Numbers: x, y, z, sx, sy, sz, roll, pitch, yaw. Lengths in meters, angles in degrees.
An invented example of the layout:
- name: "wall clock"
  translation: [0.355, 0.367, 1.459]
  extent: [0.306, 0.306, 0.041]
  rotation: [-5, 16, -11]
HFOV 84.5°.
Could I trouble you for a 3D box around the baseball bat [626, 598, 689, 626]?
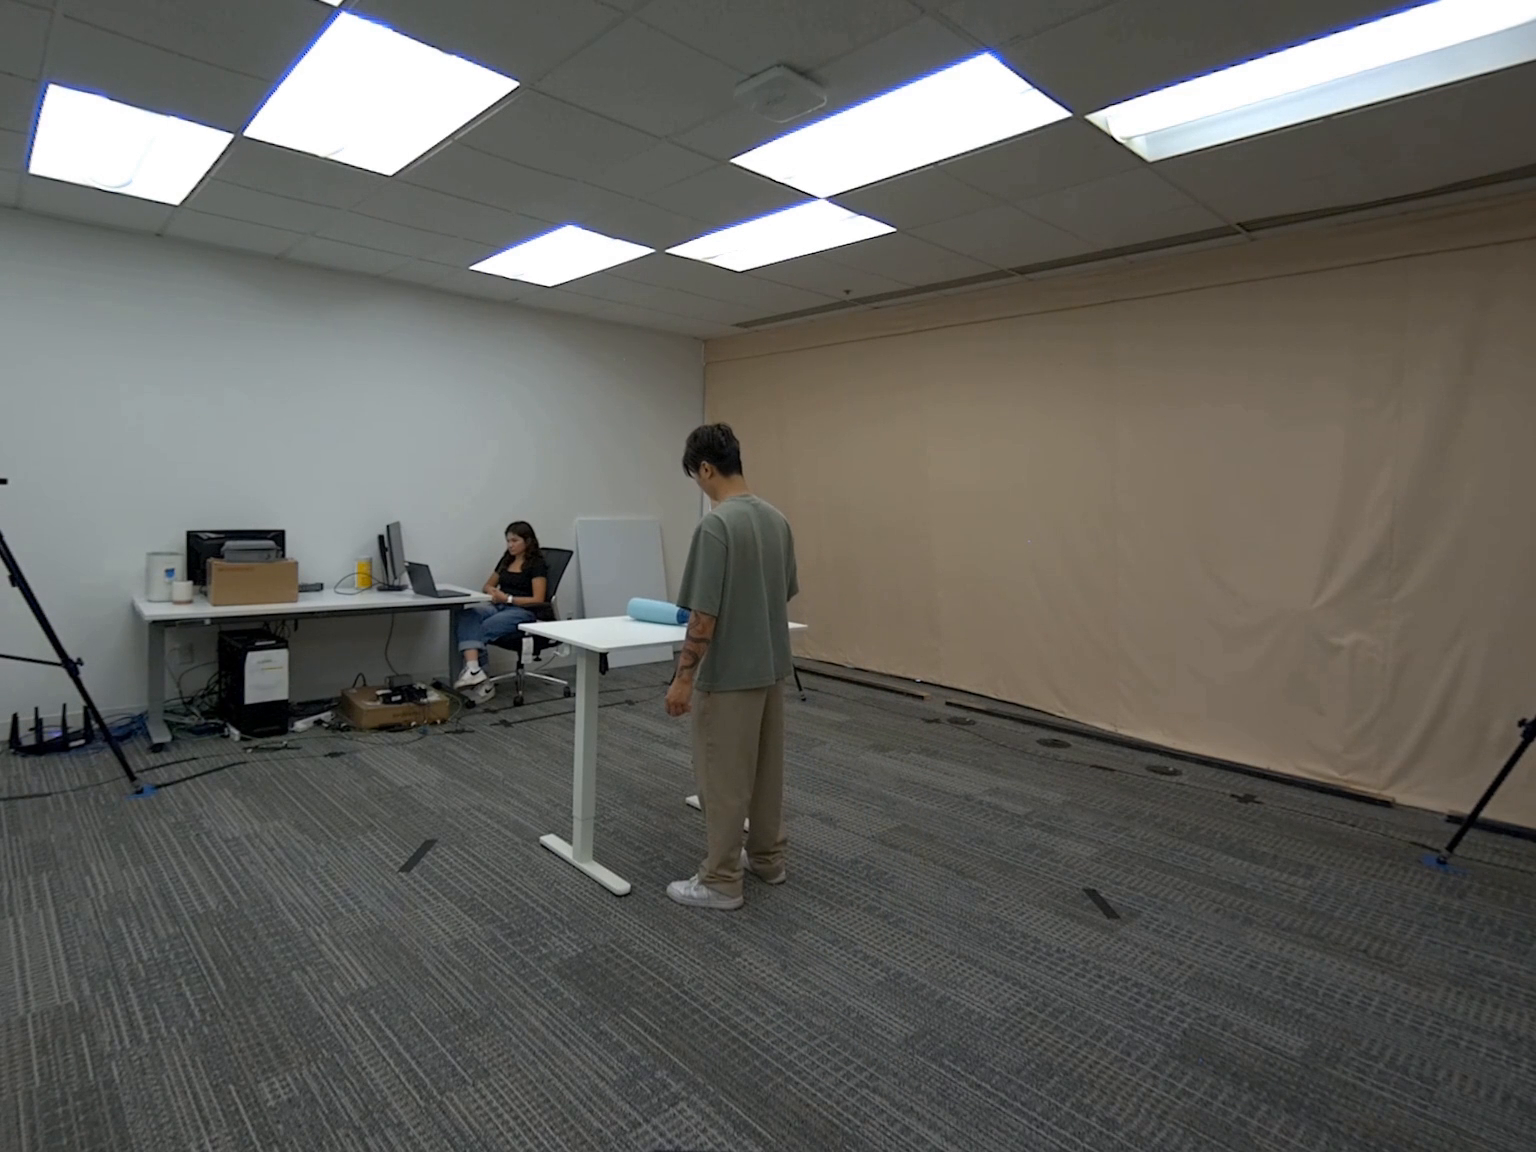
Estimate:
- name: "baseball bat"
  translation: [-0.348, 0.165, 3.358]
  extent: [0.555, 0.089, 0.087]
  rotation: [8, 7, 28]
